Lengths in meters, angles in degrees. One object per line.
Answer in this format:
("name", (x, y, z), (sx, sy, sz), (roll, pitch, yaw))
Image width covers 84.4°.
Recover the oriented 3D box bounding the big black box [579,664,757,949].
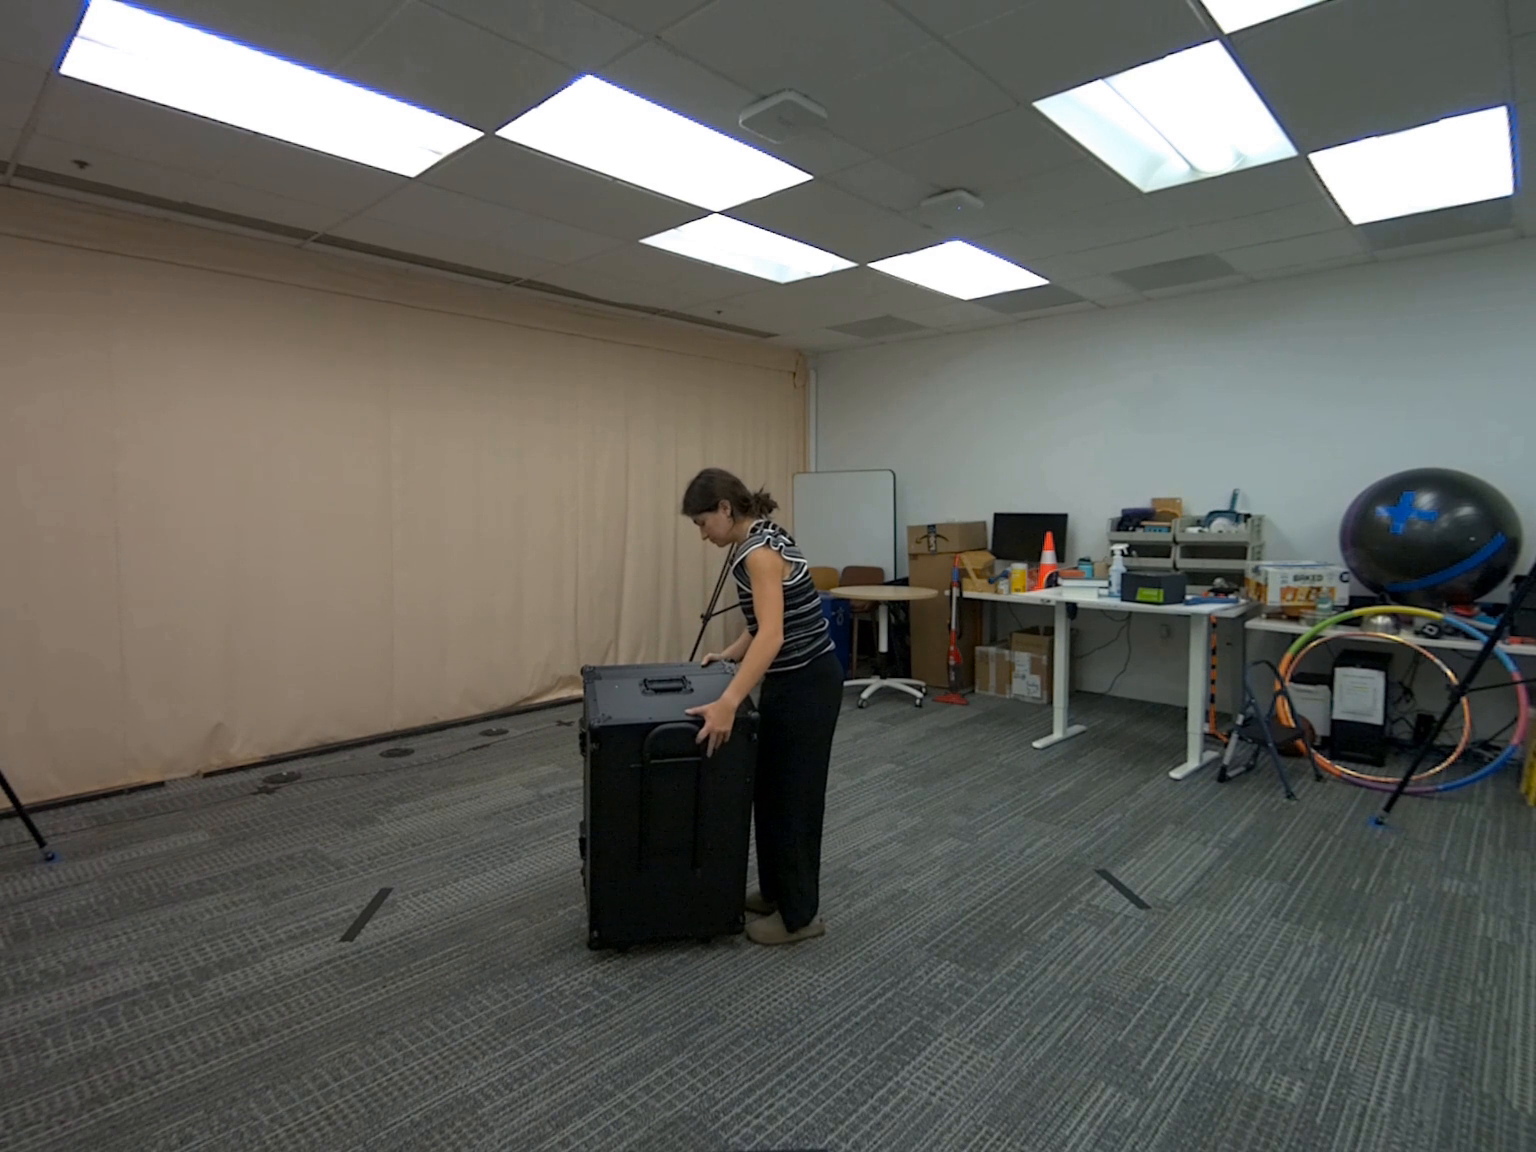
("big black box", (-0.329, 0.740, 2.625), (0.515, 0.852, 0.405), (-1, 20, -12))
